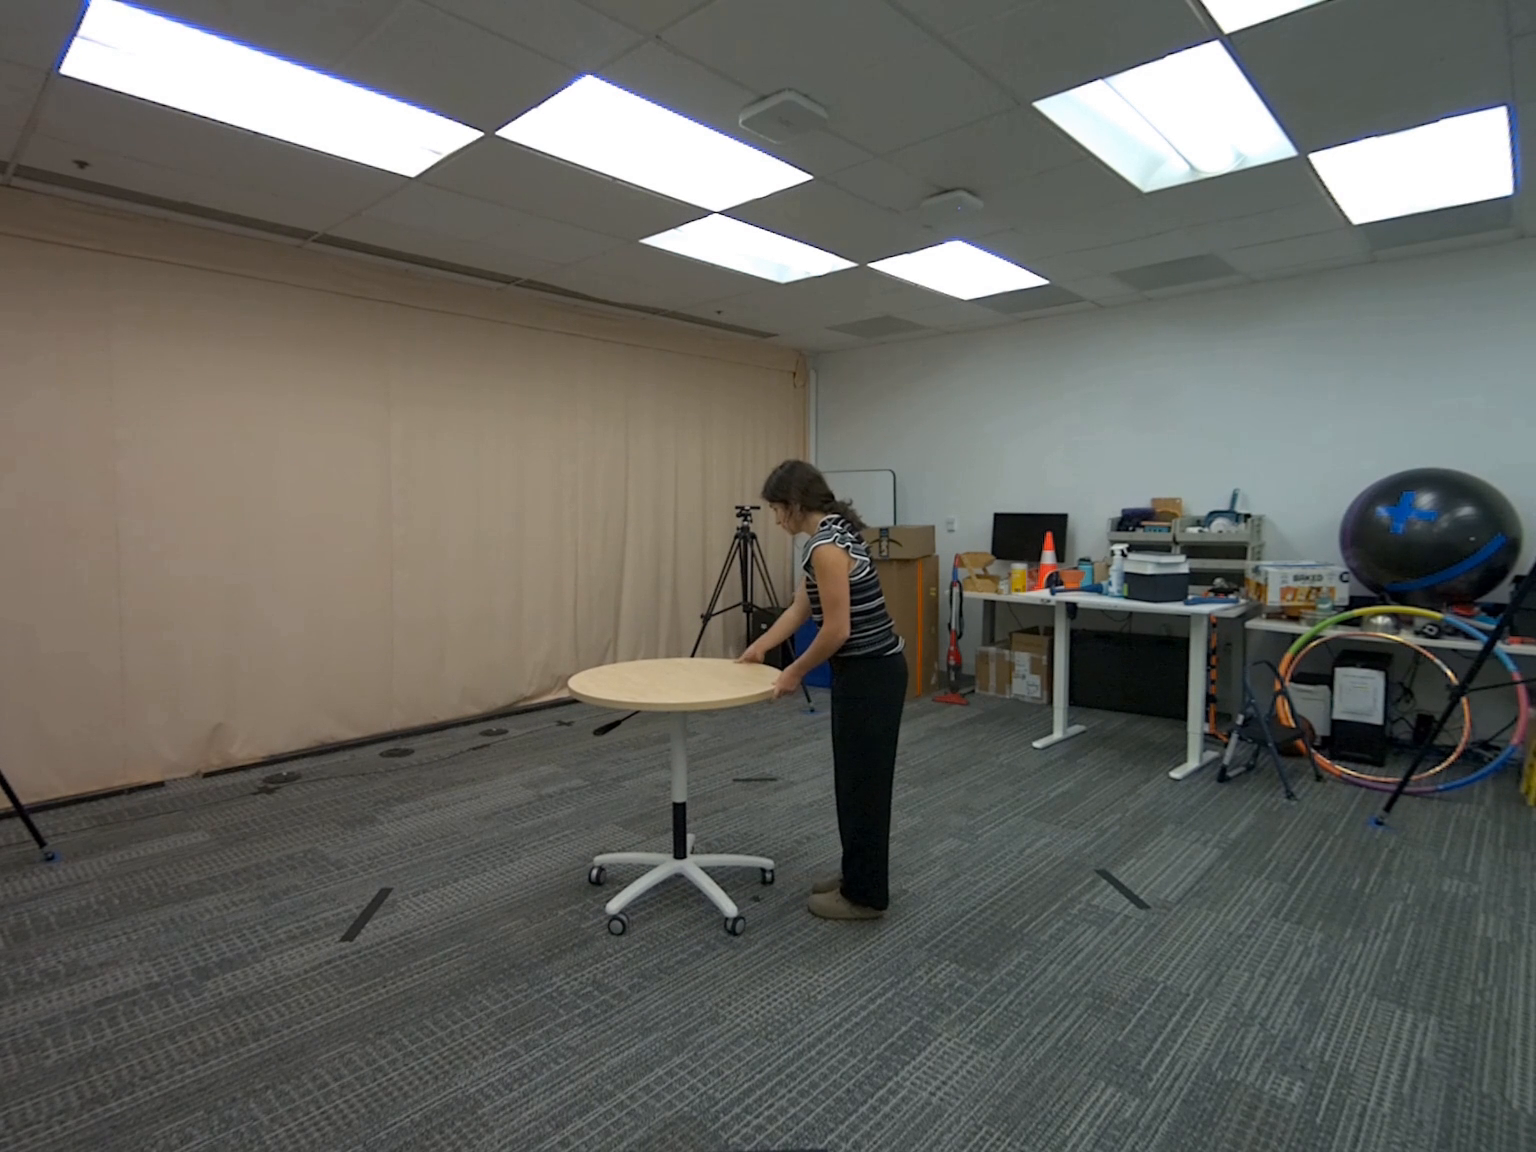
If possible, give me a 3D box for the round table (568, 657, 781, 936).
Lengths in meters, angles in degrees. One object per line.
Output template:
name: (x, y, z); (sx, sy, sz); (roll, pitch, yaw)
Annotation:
round table: (-0.314, 0.752, 3.005); (0.784, 0.784, 0.788); (-1, 4, -2)
